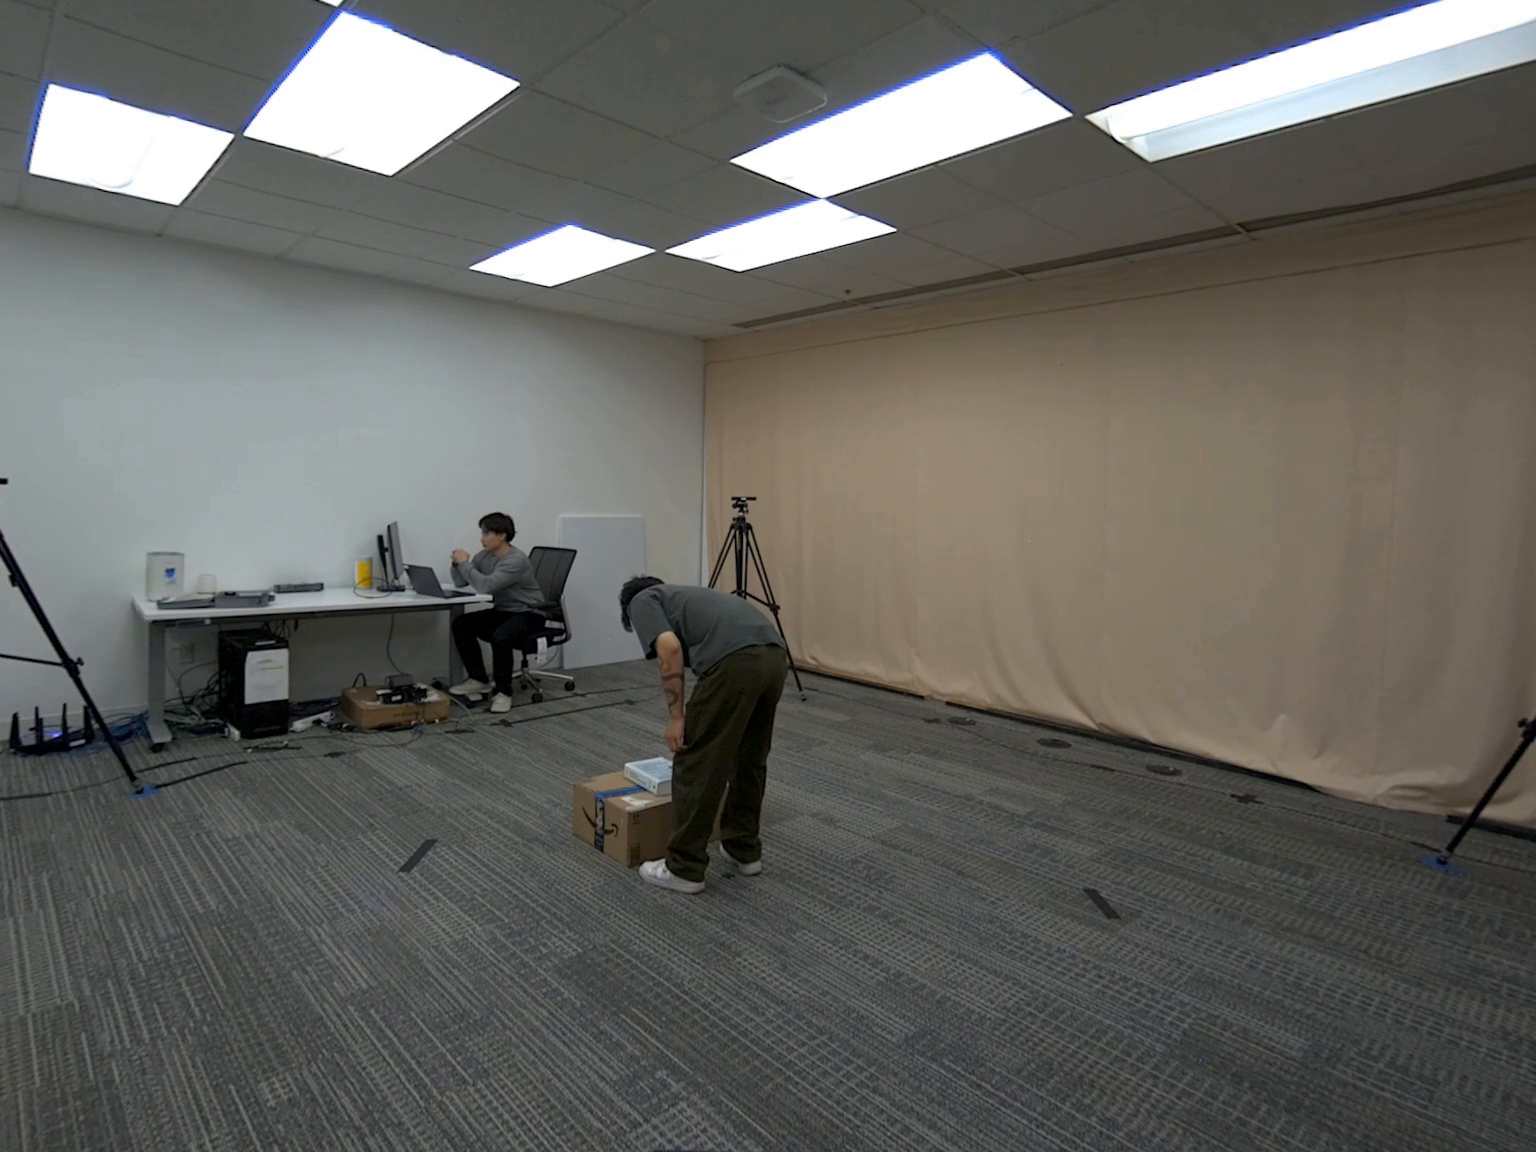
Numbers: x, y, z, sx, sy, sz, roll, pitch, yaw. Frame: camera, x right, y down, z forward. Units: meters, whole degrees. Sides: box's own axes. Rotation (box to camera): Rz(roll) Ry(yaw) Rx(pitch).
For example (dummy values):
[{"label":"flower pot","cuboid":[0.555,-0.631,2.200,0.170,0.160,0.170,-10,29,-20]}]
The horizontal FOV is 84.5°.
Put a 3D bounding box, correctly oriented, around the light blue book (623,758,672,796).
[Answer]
[{"label":"light blue book","cuboid":[-0.464,0.830,3.498,0.187,0.059,0.268,-1,6,-38]}]
